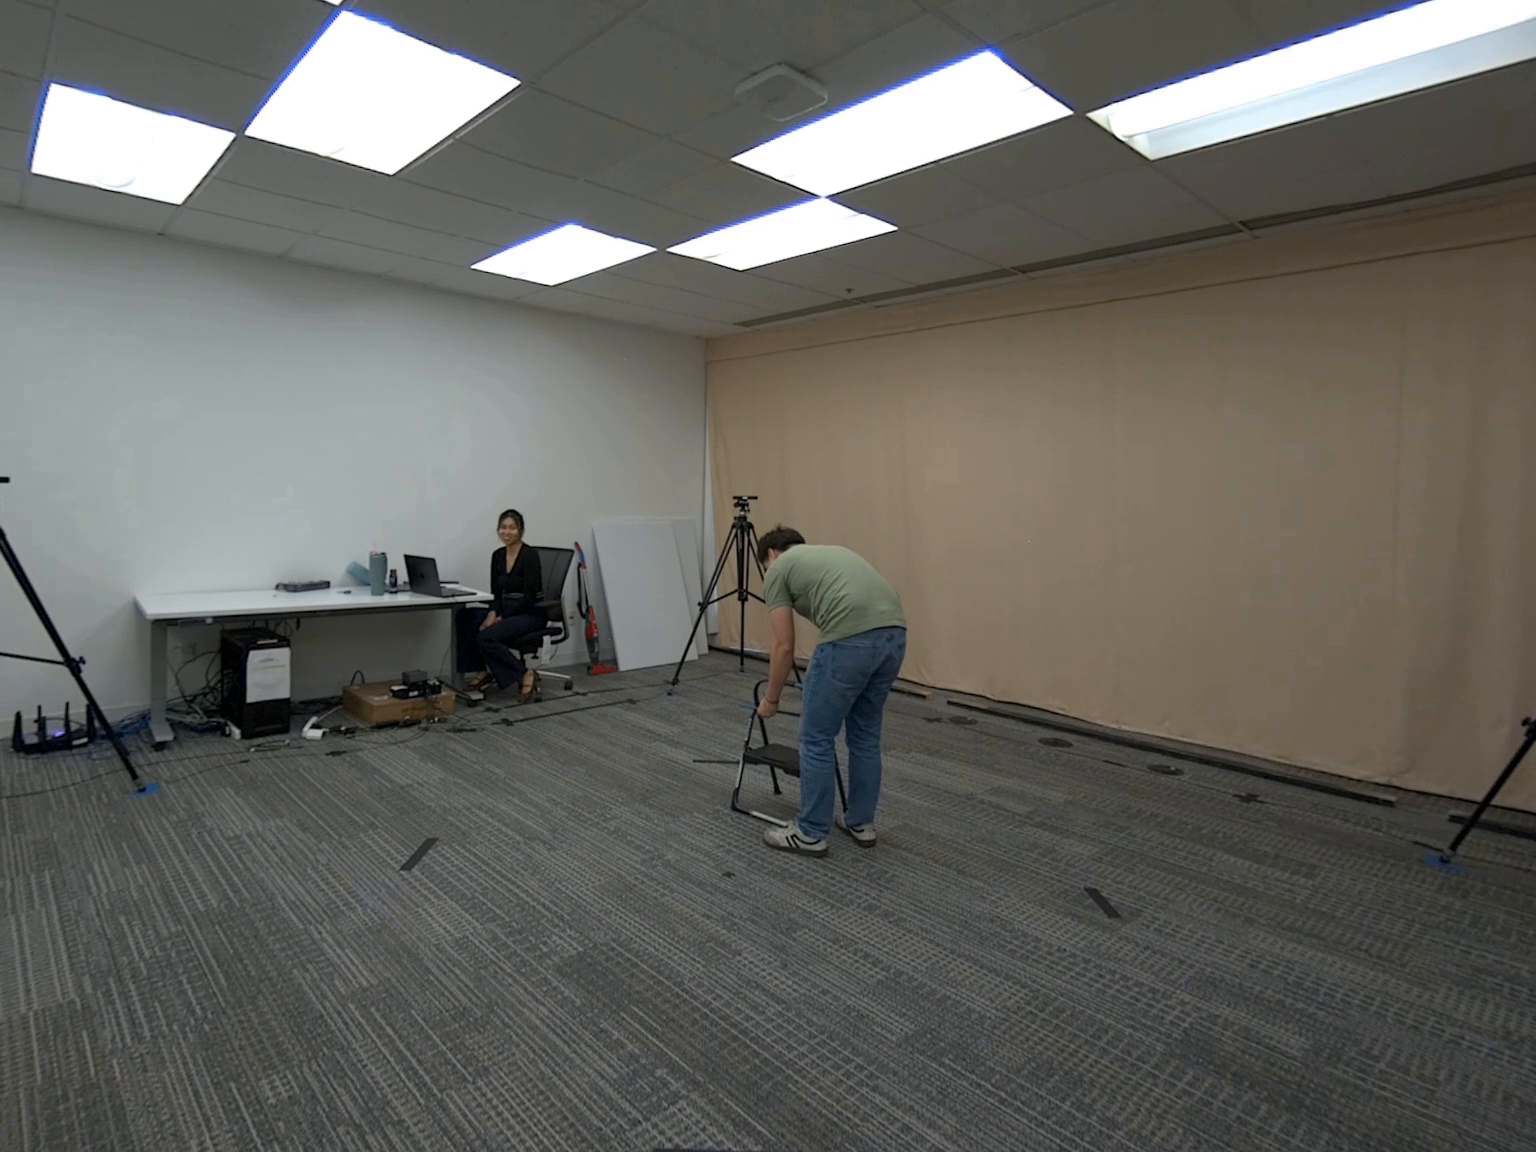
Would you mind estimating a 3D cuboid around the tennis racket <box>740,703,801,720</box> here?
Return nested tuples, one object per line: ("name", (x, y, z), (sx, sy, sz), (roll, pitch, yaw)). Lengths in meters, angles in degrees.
("tennis racket", (0.071, 0.597, 3.666), (0.423, 0.032, 0.217), (14, -10, -29))
